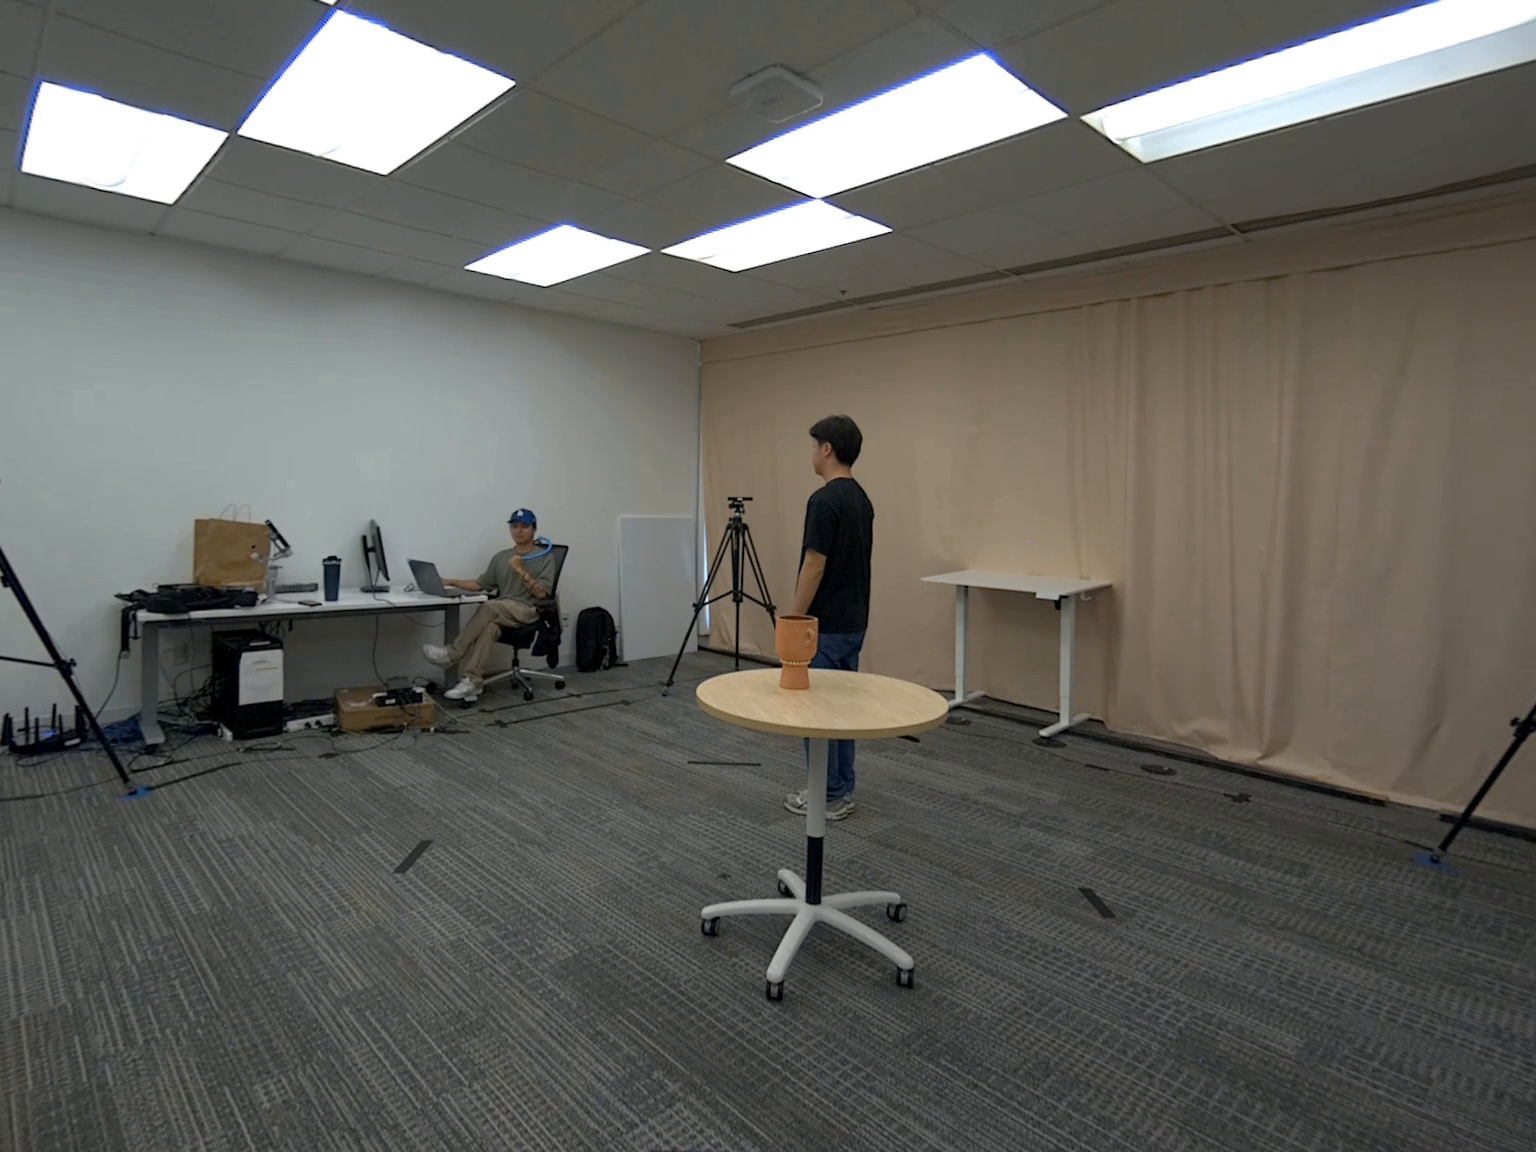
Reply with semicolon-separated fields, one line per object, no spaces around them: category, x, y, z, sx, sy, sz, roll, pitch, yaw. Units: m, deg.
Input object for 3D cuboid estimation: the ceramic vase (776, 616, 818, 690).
ceramic vase;0.088;0.248;2.671;0.136;0.219;0.158;4;4;9
